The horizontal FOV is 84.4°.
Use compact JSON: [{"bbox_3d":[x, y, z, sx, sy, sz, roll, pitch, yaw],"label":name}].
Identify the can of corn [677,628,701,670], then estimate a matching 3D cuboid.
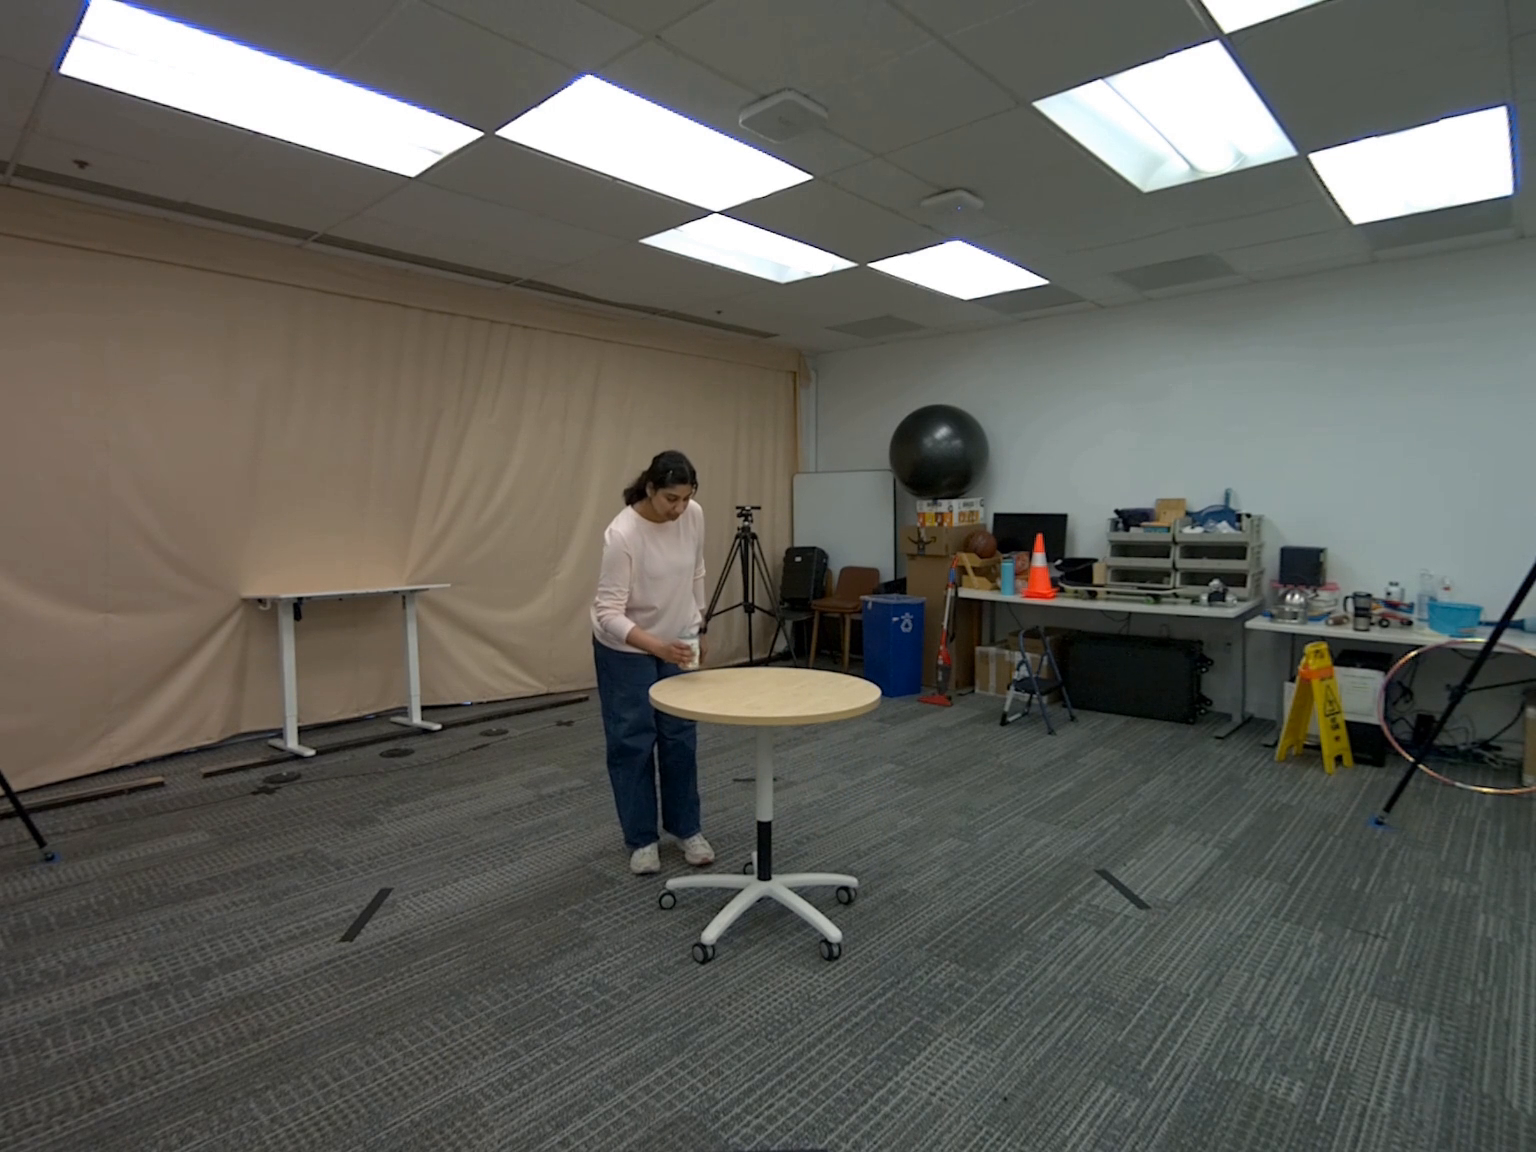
[{"bbox_3d":[-0.284,0.265,2.918,0.074,0.110,0.074,-1,5,-2],"label":"can of corn"}]
